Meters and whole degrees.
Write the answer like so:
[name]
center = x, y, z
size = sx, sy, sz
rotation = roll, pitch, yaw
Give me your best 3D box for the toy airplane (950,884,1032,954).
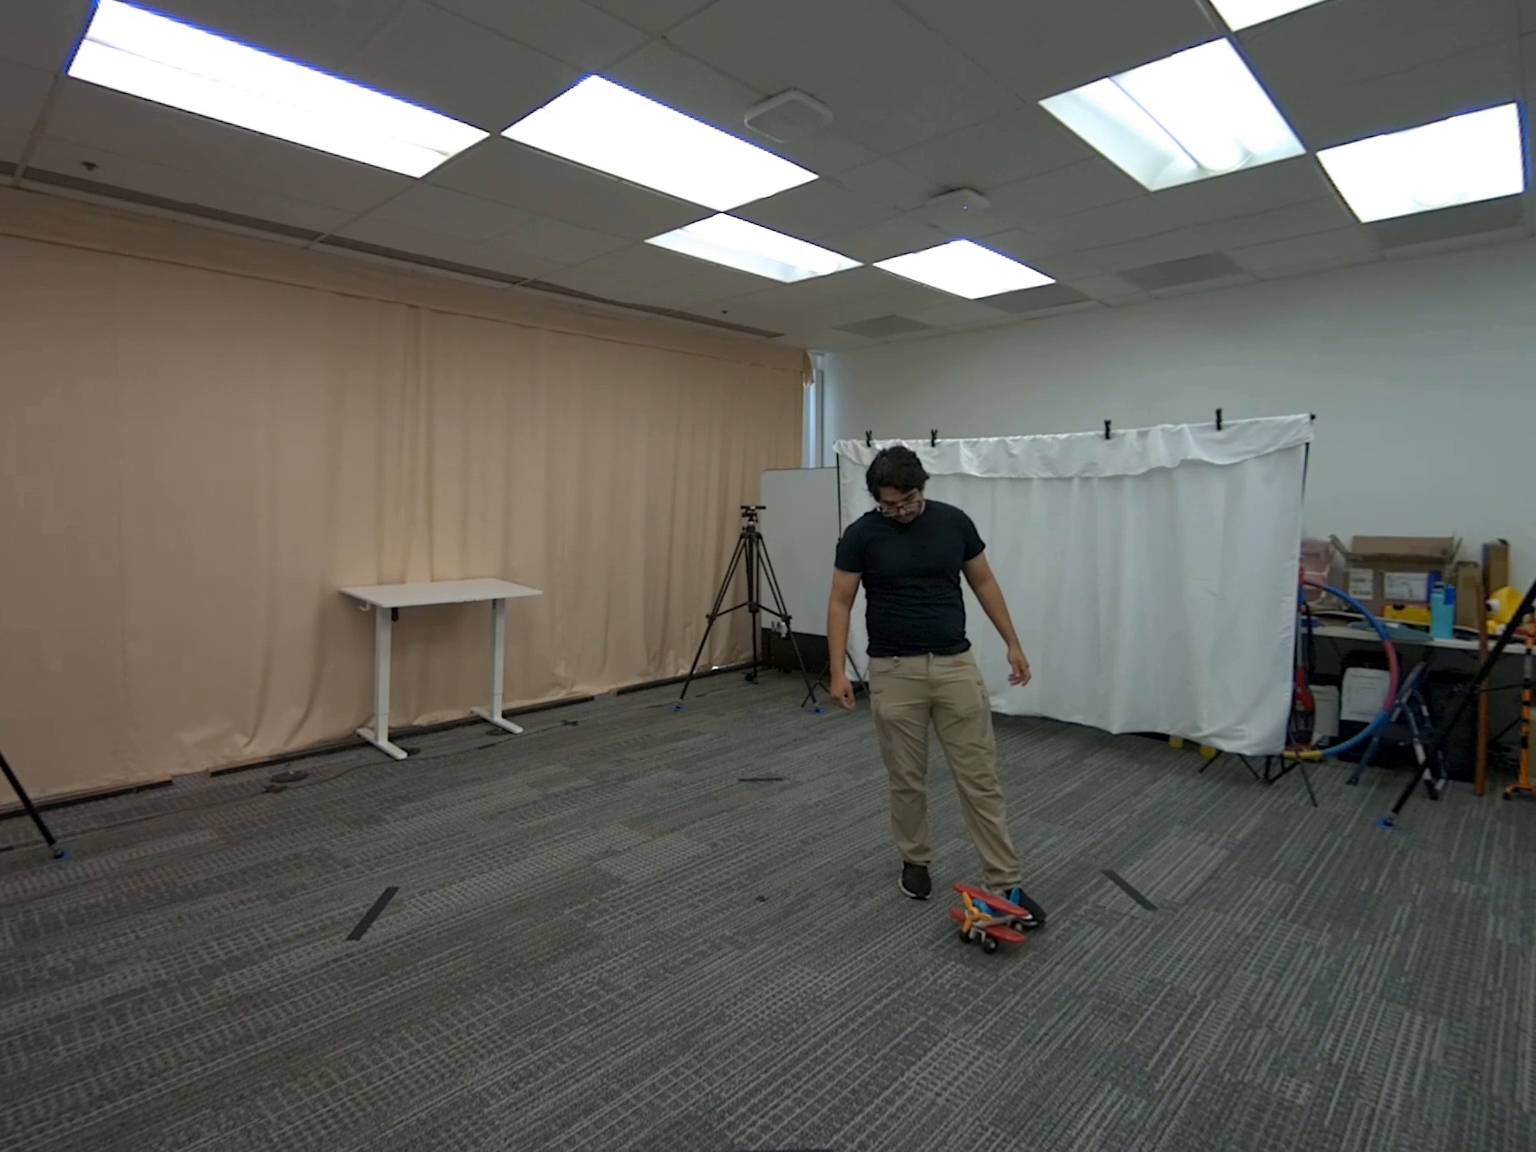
[toy airplane]
center = 0.717, 1.087, 2.716
size = 0.257, 0.156, 0.254
rotation = 3, 7, 22
